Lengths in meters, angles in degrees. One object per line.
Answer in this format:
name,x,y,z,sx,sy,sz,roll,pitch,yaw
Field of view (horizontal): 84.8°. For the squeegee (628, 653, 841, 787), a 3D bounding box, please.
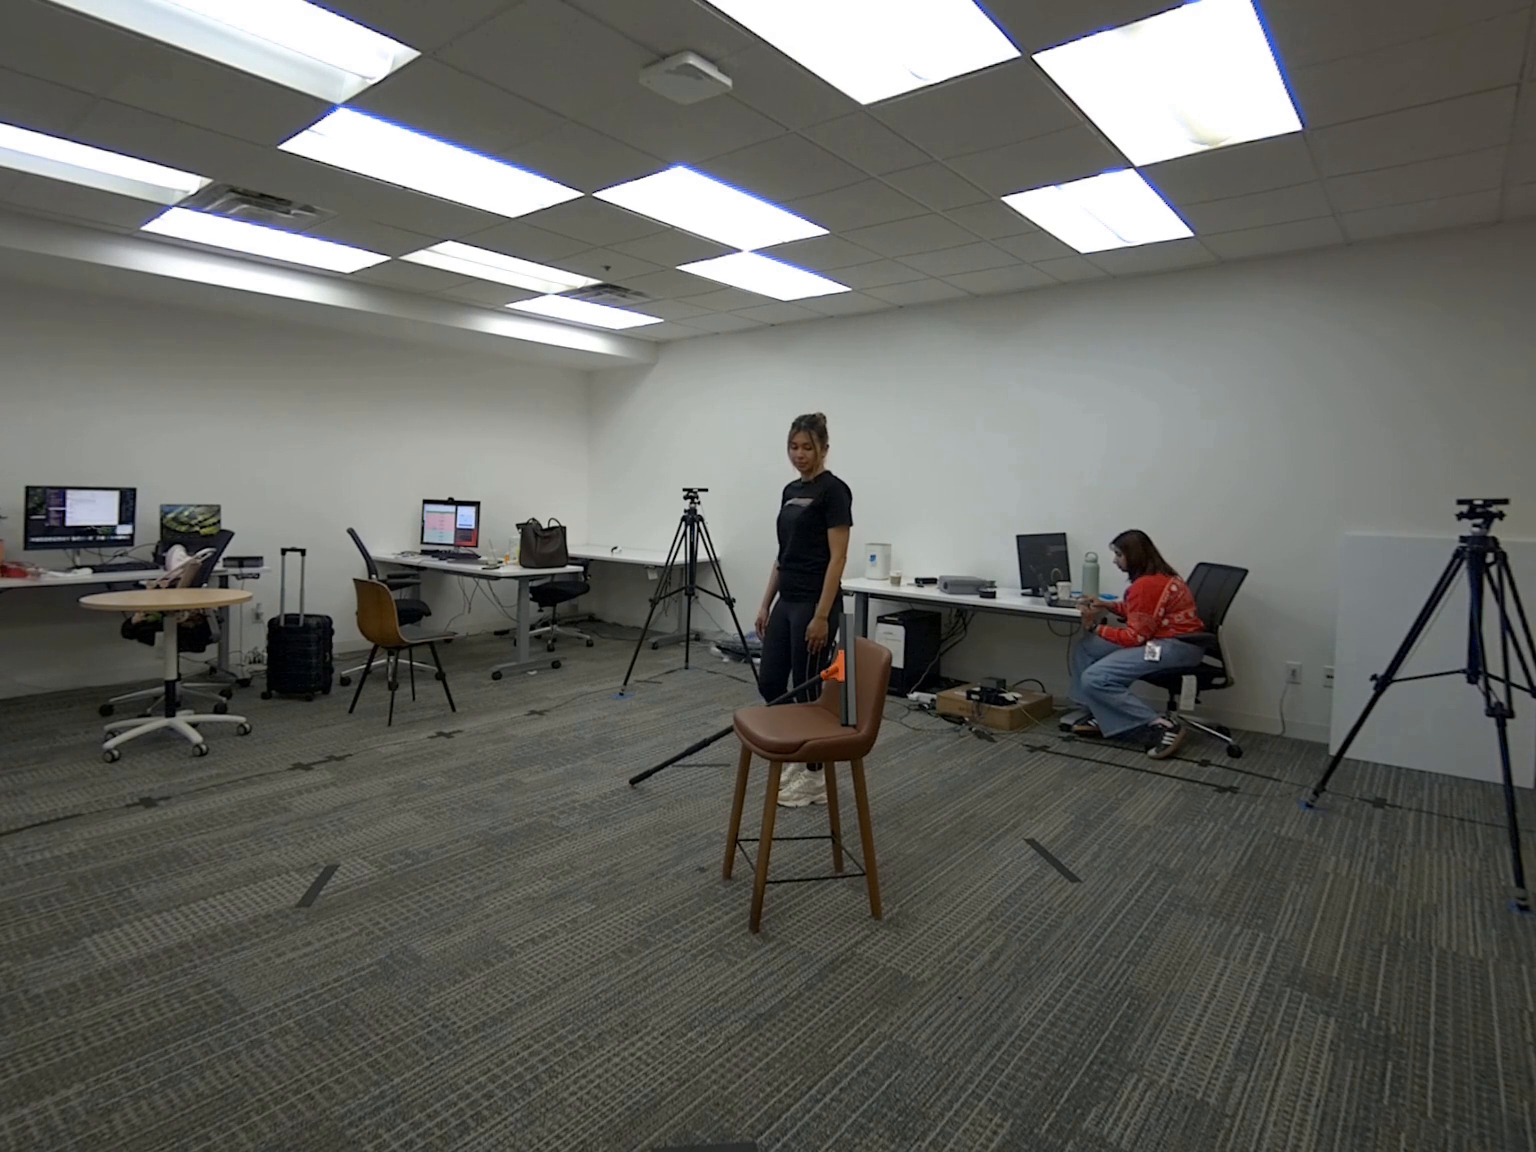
squeegee,-0.211,0.622,3.437,0.051,0.449,1.550,22,-39,-32
